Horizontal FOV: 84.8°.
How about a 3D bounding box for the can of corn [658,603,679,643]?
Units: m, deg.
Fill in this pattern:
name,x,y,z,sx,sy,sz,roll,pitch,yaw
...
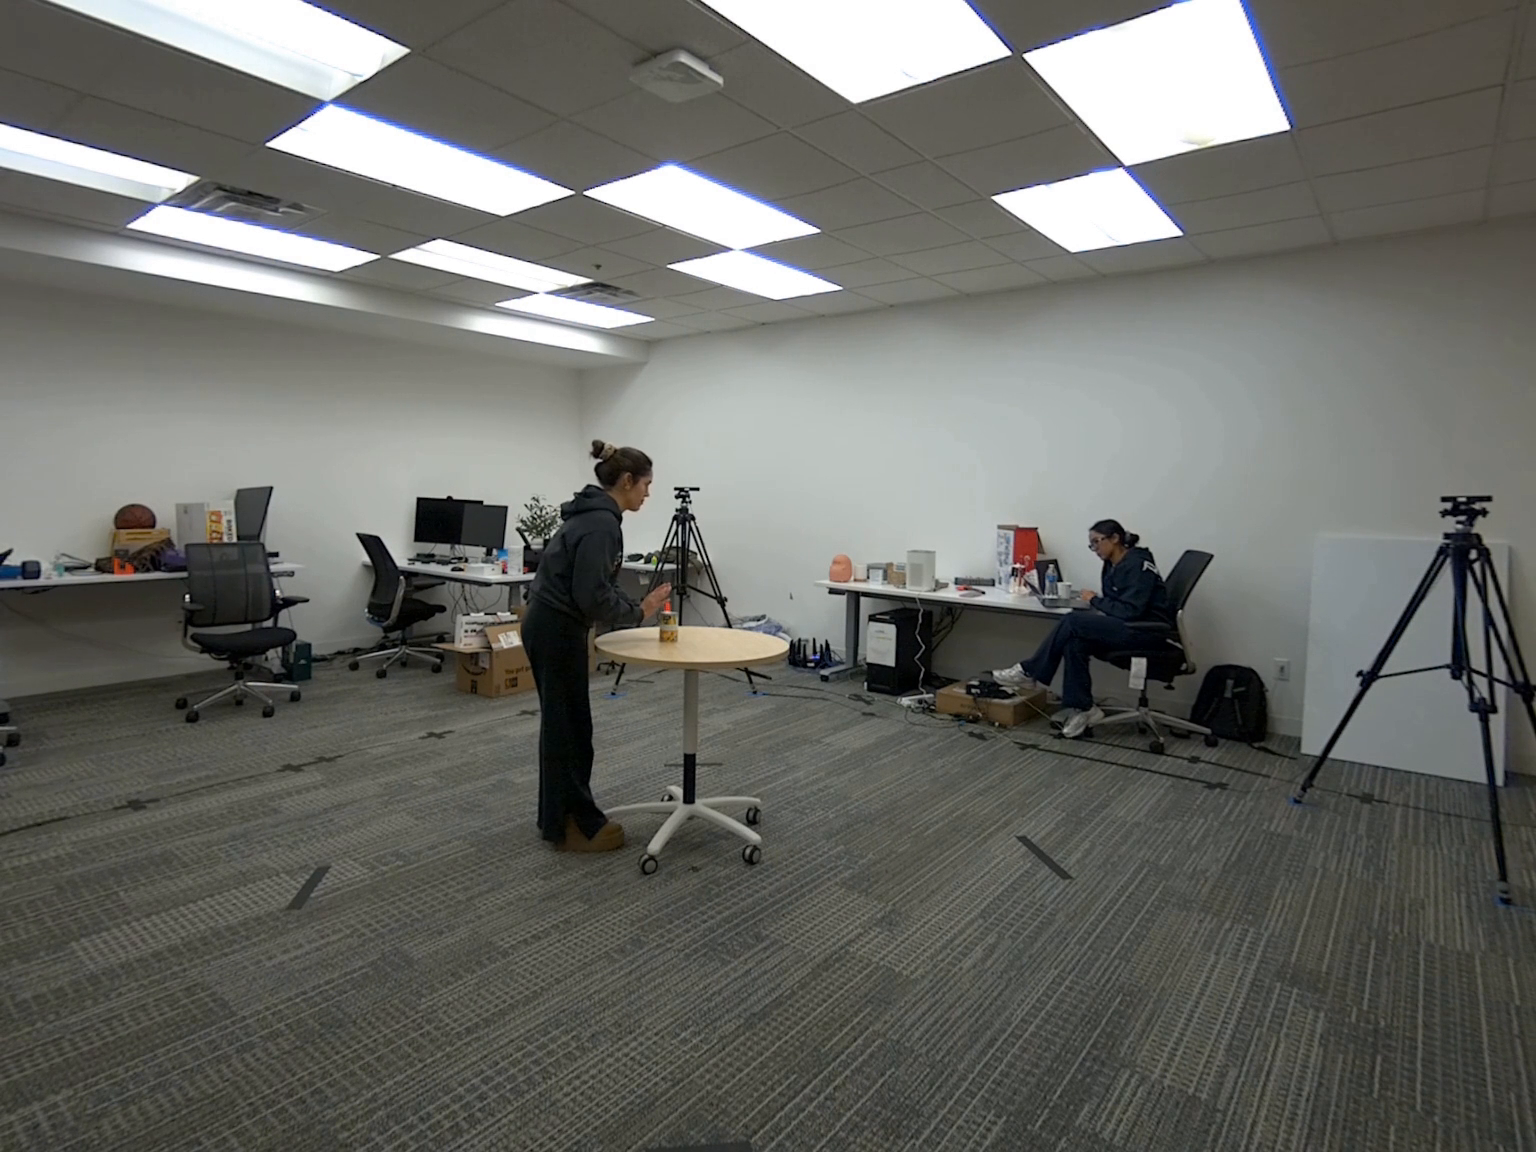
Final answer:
name,x,y,z,sx,sy,sz,roll,pitch,yaw
can of corn,-0.401,0.203,3.373,0.074,0.111,0.074,-2,1,-2
